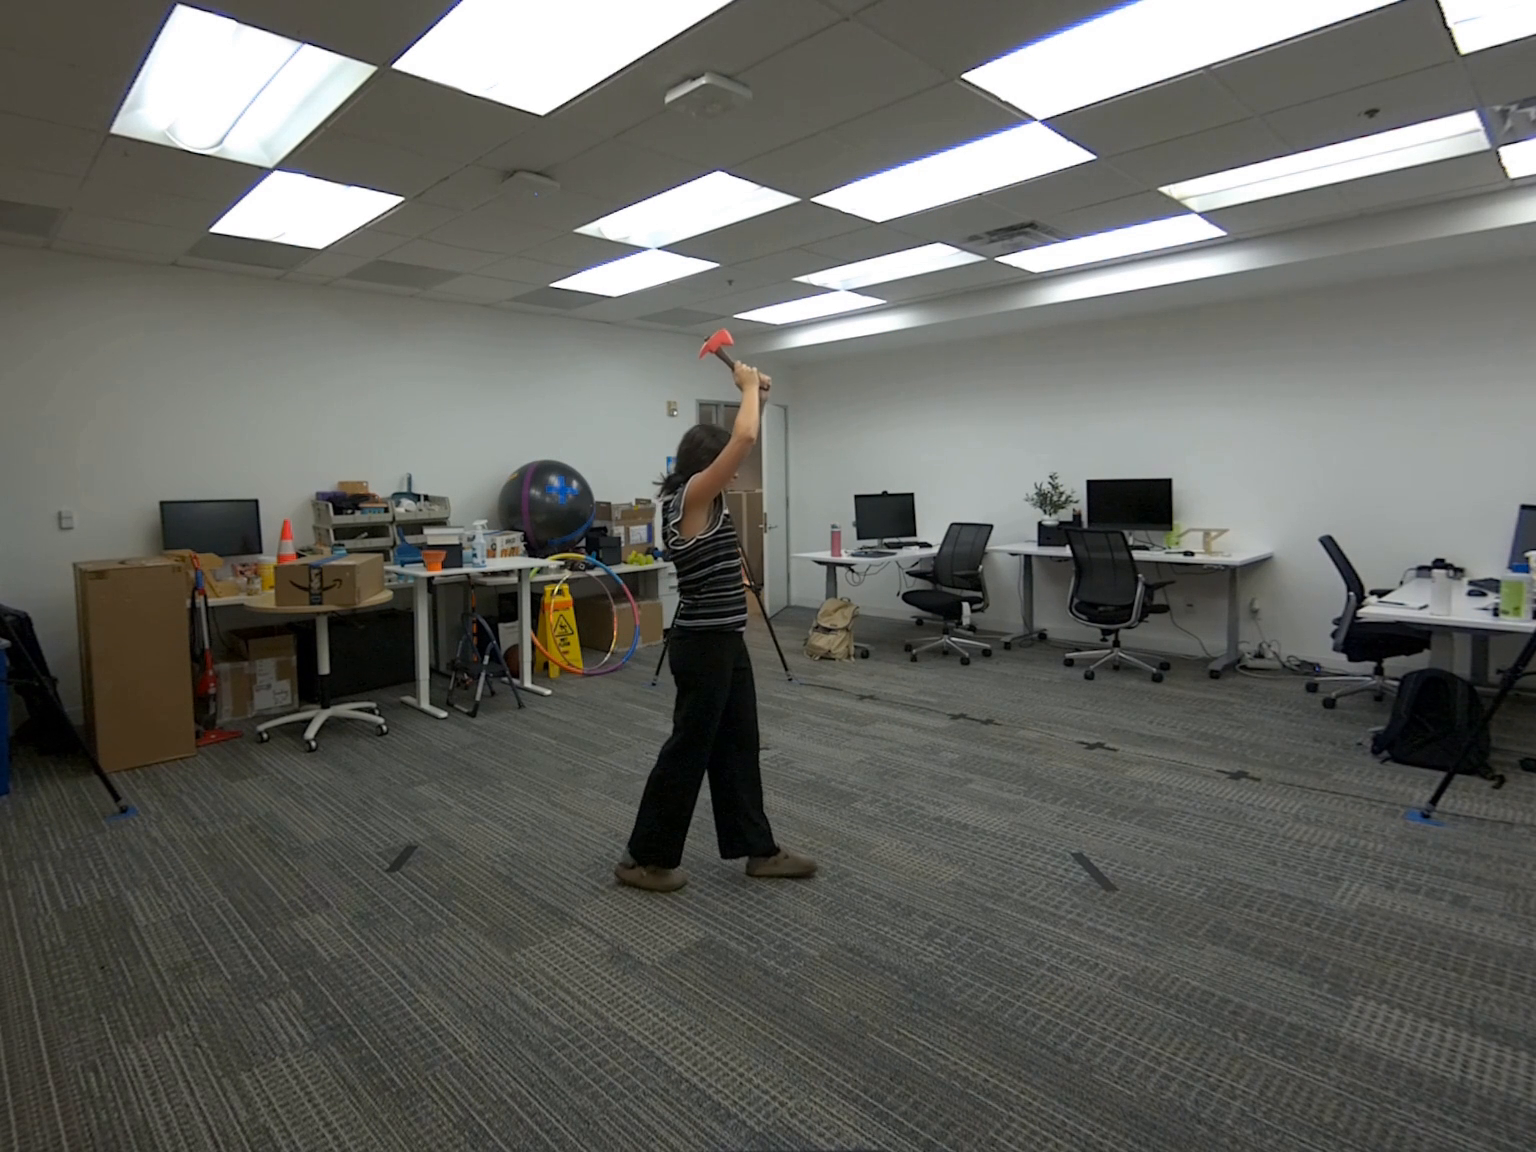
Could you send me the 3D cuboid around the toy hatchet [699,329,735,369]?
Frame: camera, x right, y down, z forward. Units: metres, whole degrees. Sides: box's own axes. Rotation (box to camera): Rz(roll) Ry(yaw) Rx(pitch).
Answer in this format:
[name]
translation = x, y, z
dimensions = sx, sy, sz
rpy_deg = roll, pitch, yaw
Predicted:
[toy hatchet]
translation = -0.095, -0.740, 2.882
dimensions = 0.265, 0.132, 0.030
rpy_deg = 24, -10, -15
